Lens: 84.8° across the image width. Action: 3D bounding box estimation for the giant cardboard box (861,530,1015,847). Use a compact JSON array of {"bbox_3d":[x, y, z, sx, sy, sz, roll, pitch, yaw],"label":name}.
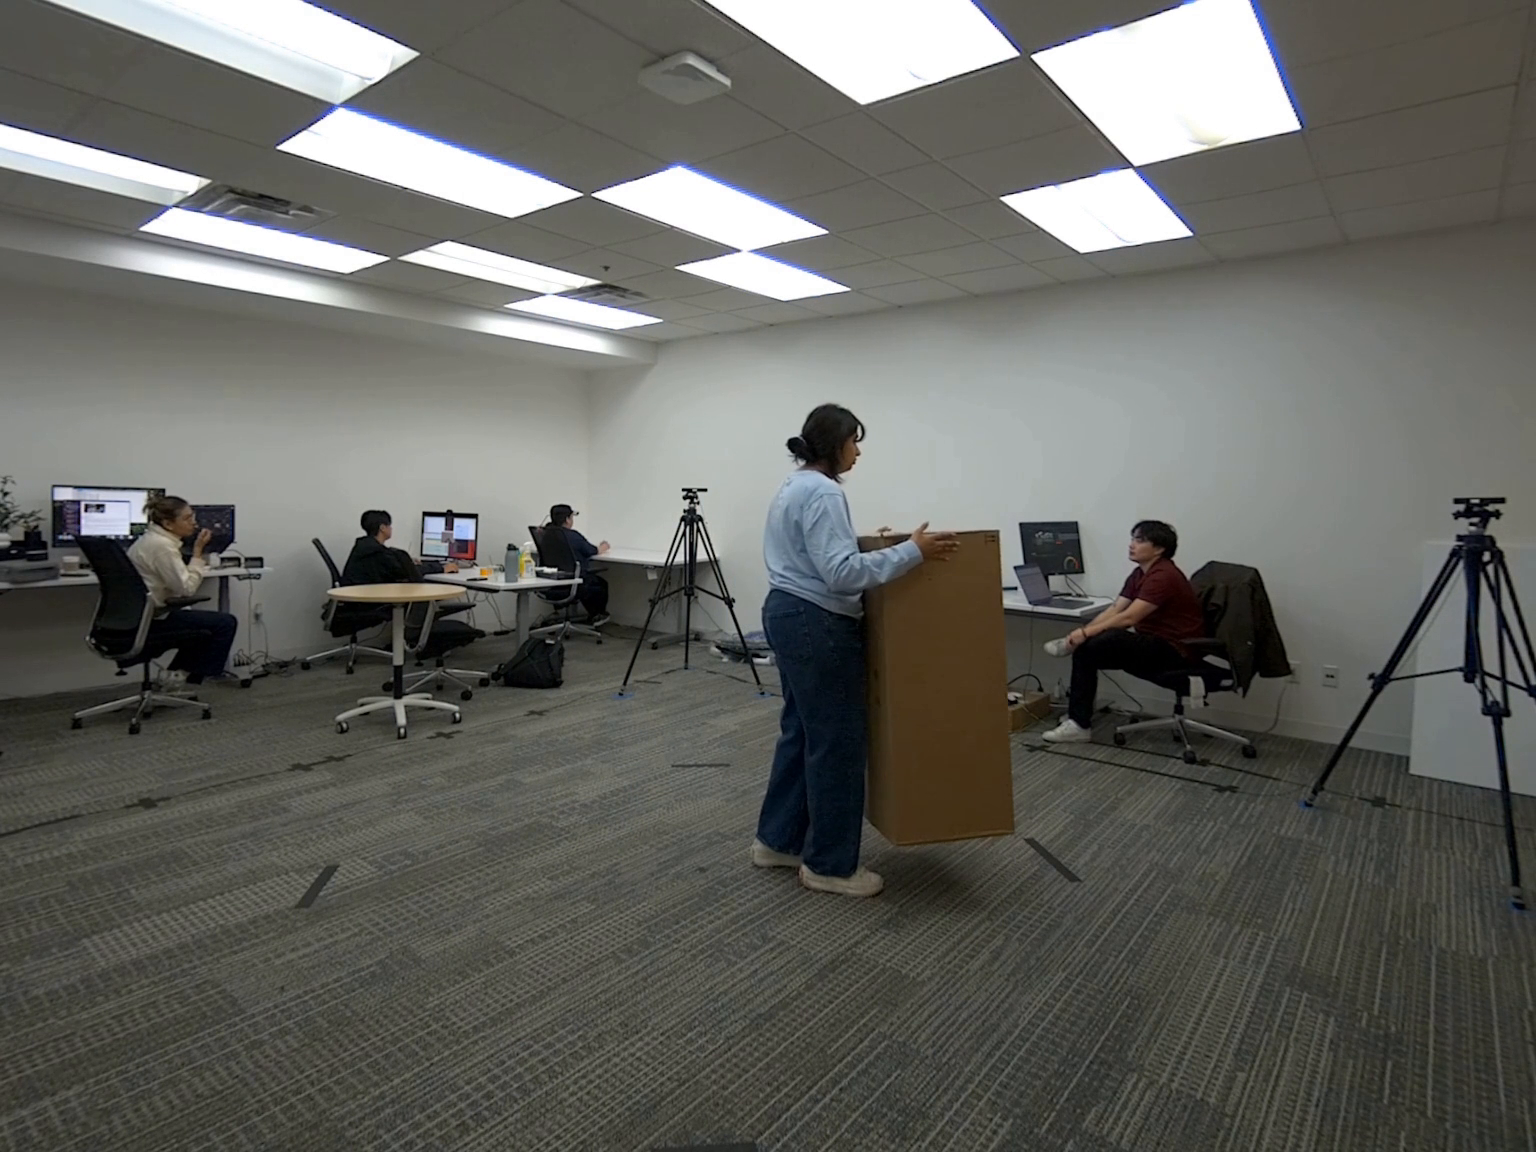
[{"bbox_3d":[0.534,0.360,3.093,0.422,1.026,0.583,-3,0,-10],"label":"giant cardboard box"}]
